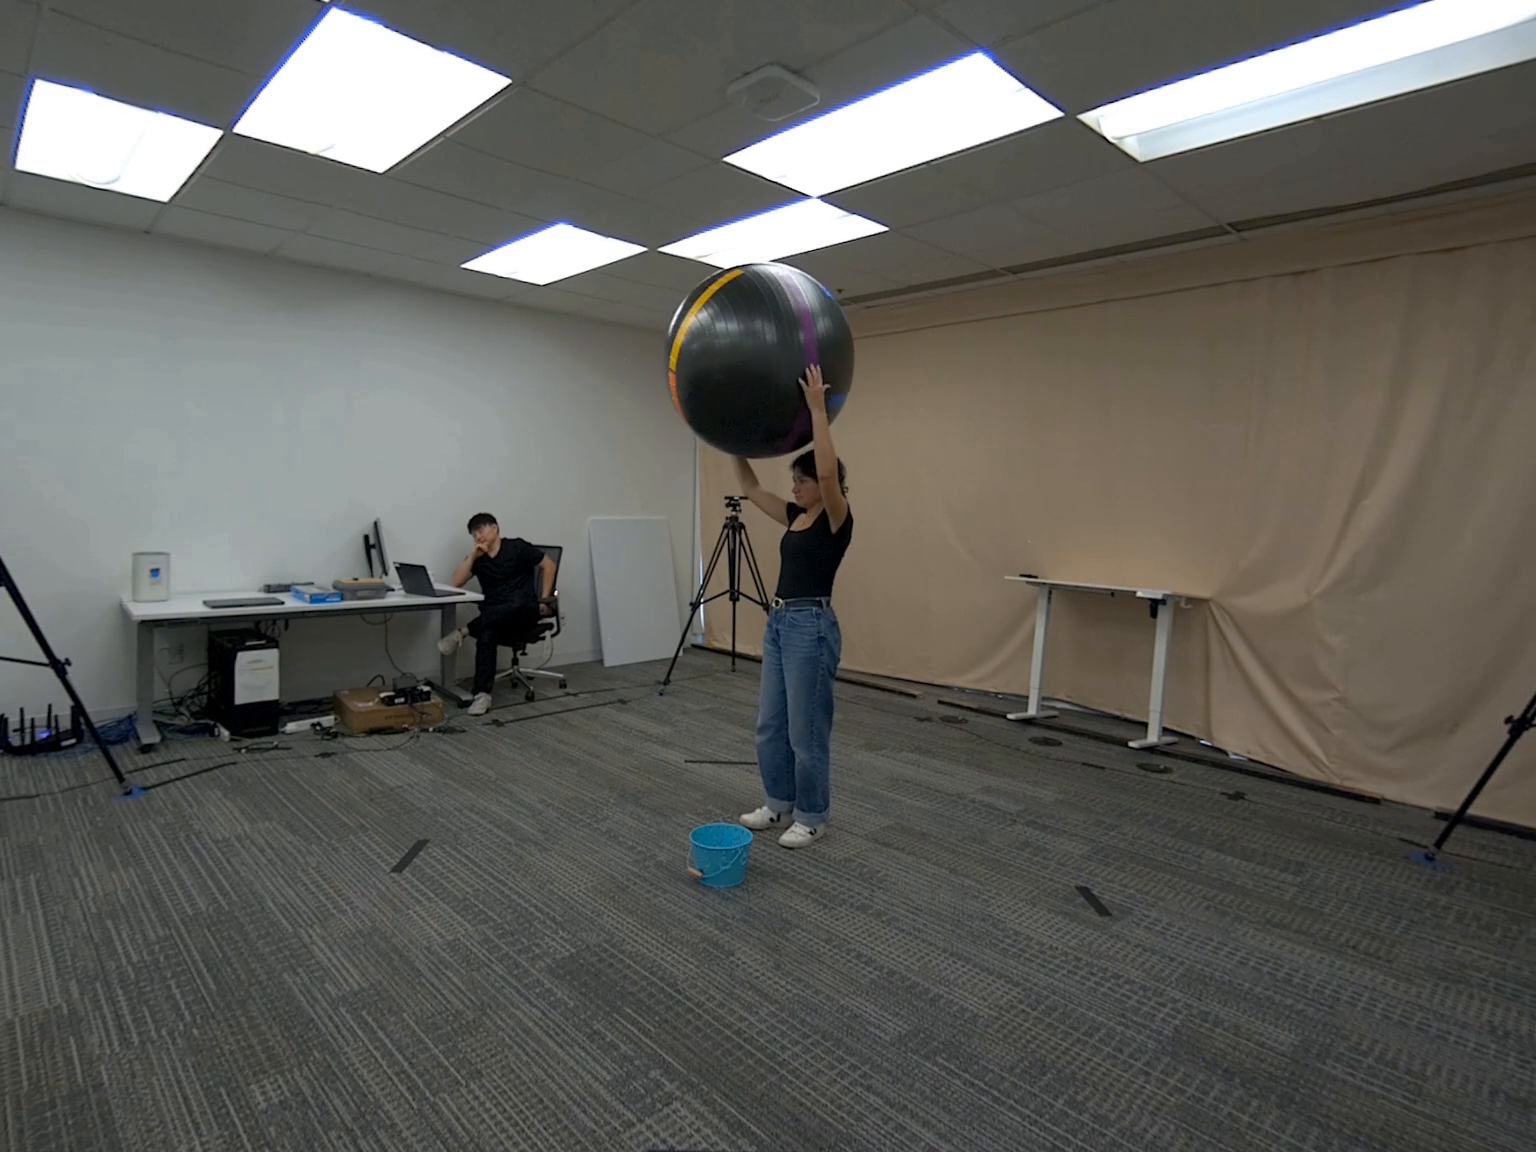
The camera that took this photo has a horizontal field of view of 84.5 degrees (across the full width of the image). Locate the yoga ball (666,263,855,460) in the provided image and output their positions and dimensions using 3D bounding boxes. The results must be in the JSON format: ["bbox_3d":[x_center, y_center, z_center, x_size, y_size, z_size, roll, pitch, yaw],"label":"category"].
[{"bbox_3d":[-0.052,-0.843,3.344,0.757,0.756,0.761,1,4,-1],"label":"yoga ball"}]
